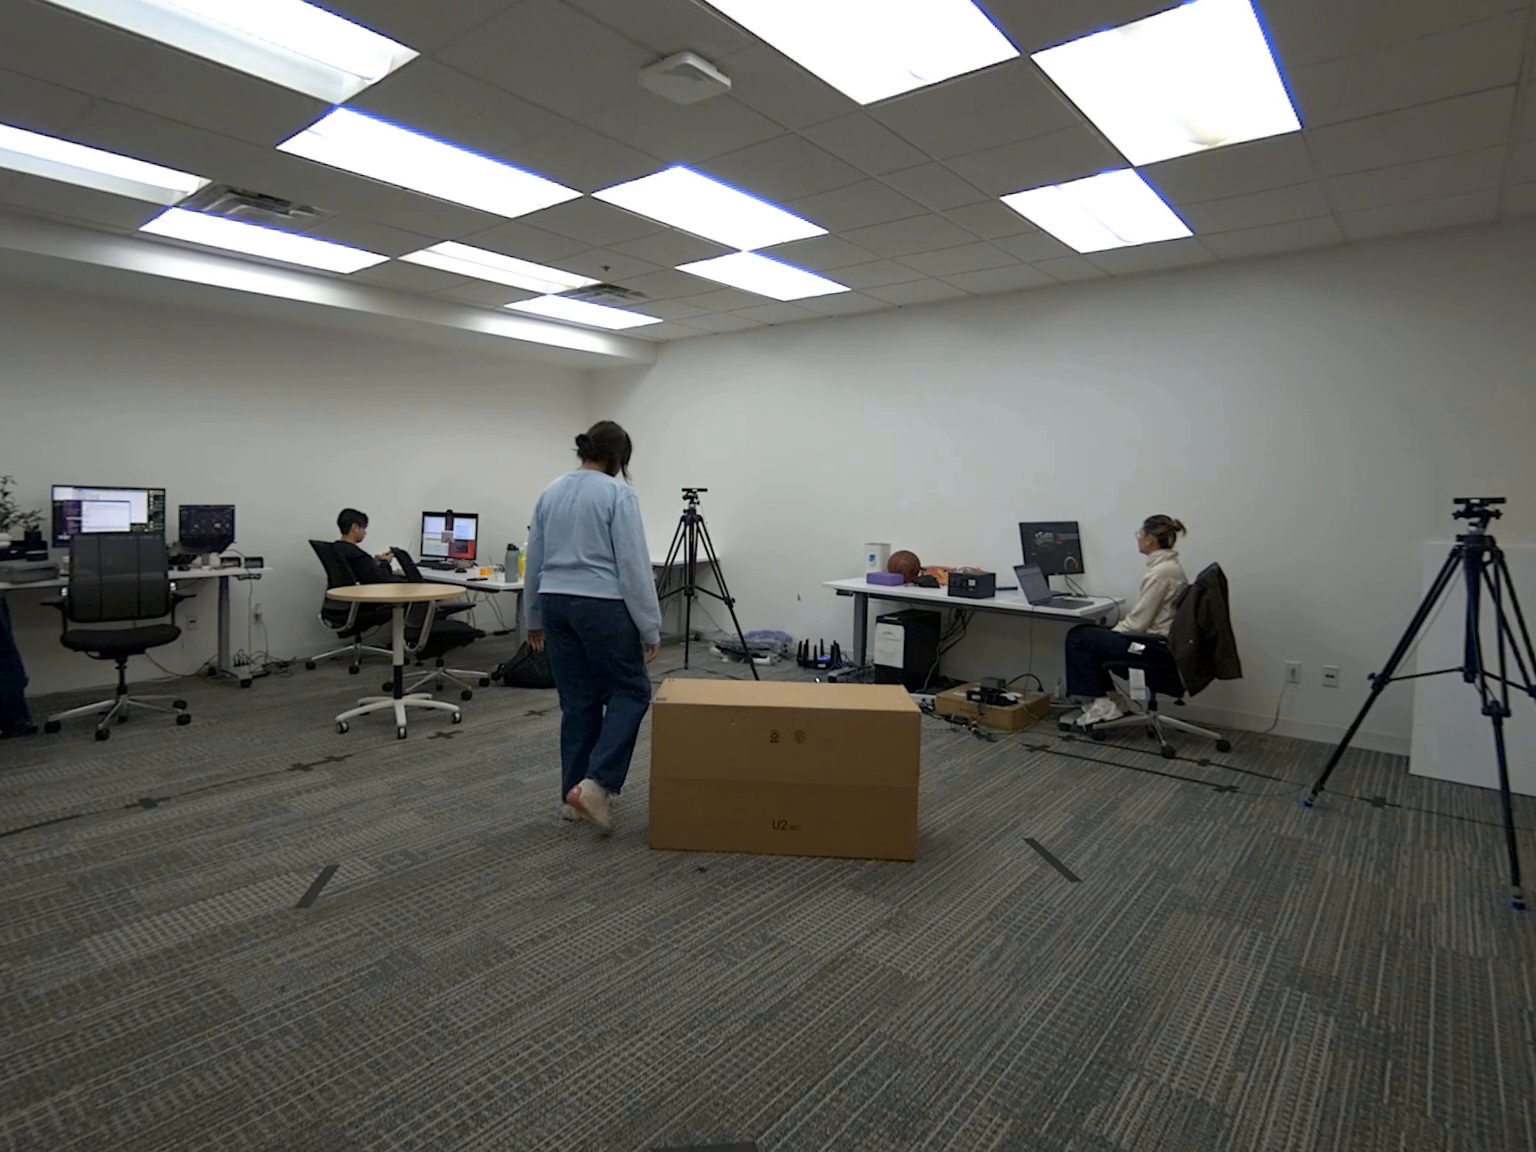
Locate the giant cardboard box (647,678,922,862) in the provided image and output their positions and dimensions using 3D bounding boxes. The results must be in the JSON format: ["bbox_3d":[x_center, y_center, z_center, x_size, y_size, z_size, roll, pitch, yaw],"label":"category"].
[{"bbox_3d":[0.052,0.751,3.434,1.030,0.576,0.426,1,3,3],"label":"giant cardboard box"}]
